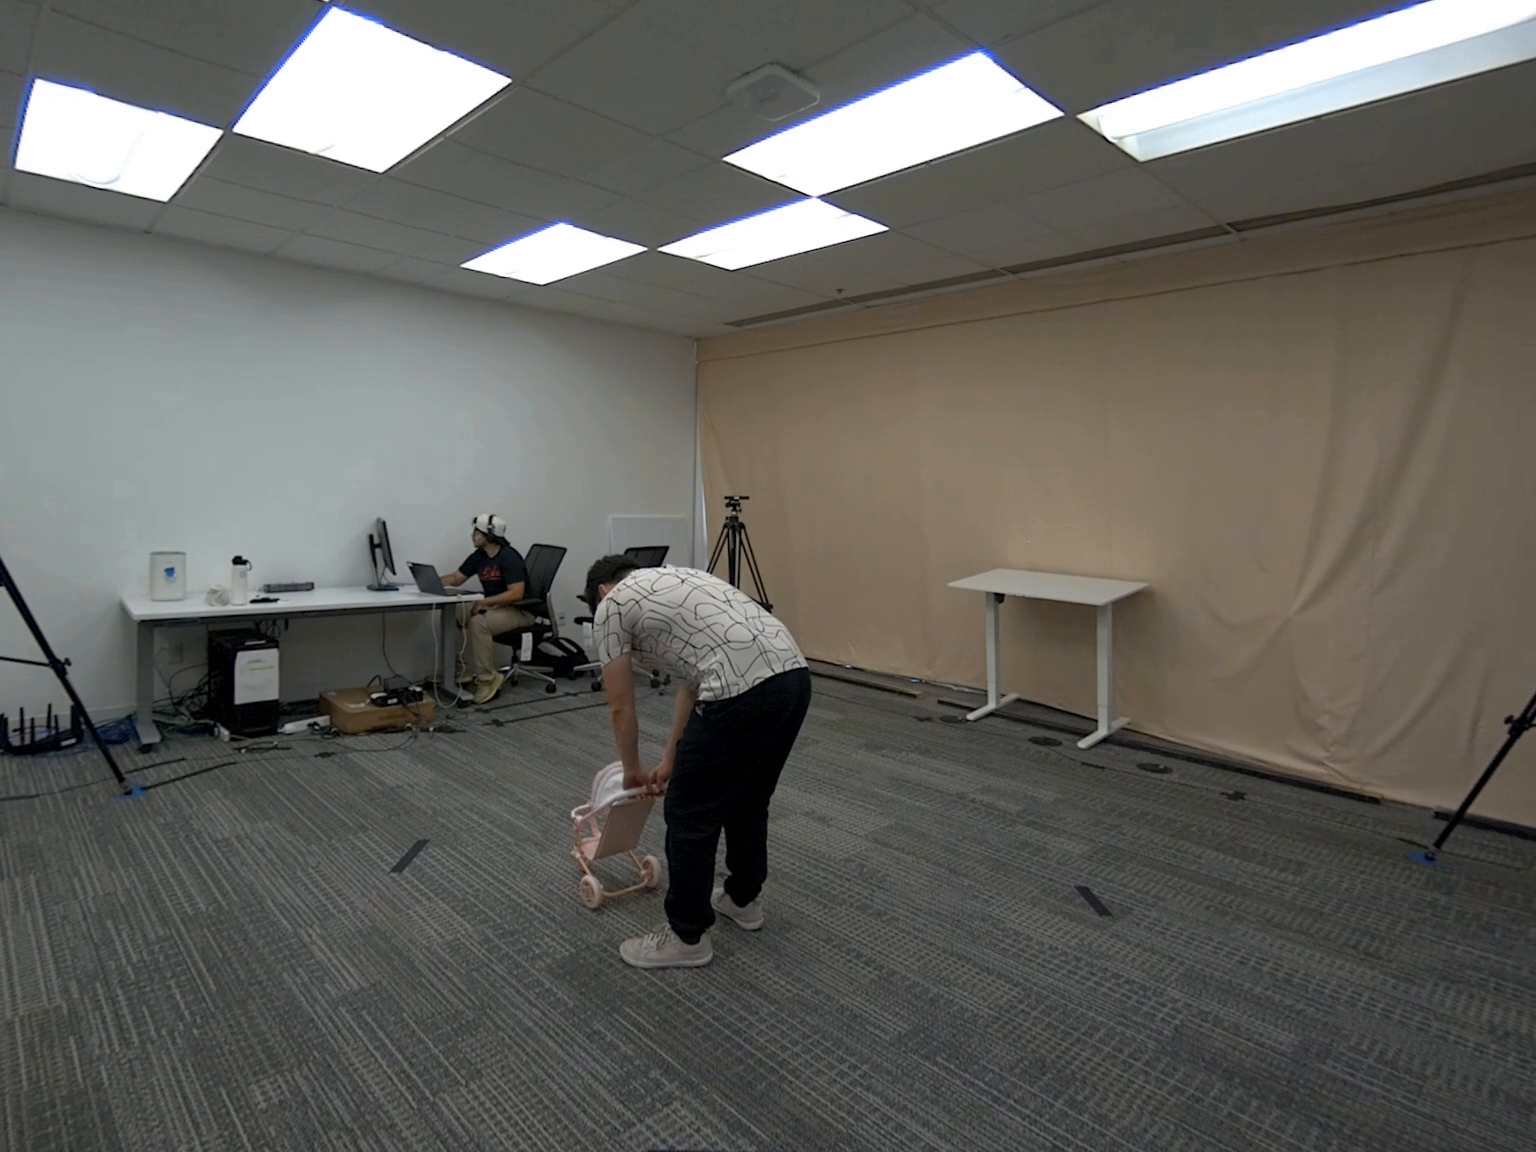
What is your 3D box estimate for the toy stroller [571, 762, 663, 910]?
[{"bbox_3d":[-0.547,0.884,2.952,0.275,0.530,0.352,-1,21,-38],"label":"toy stroller"}]
